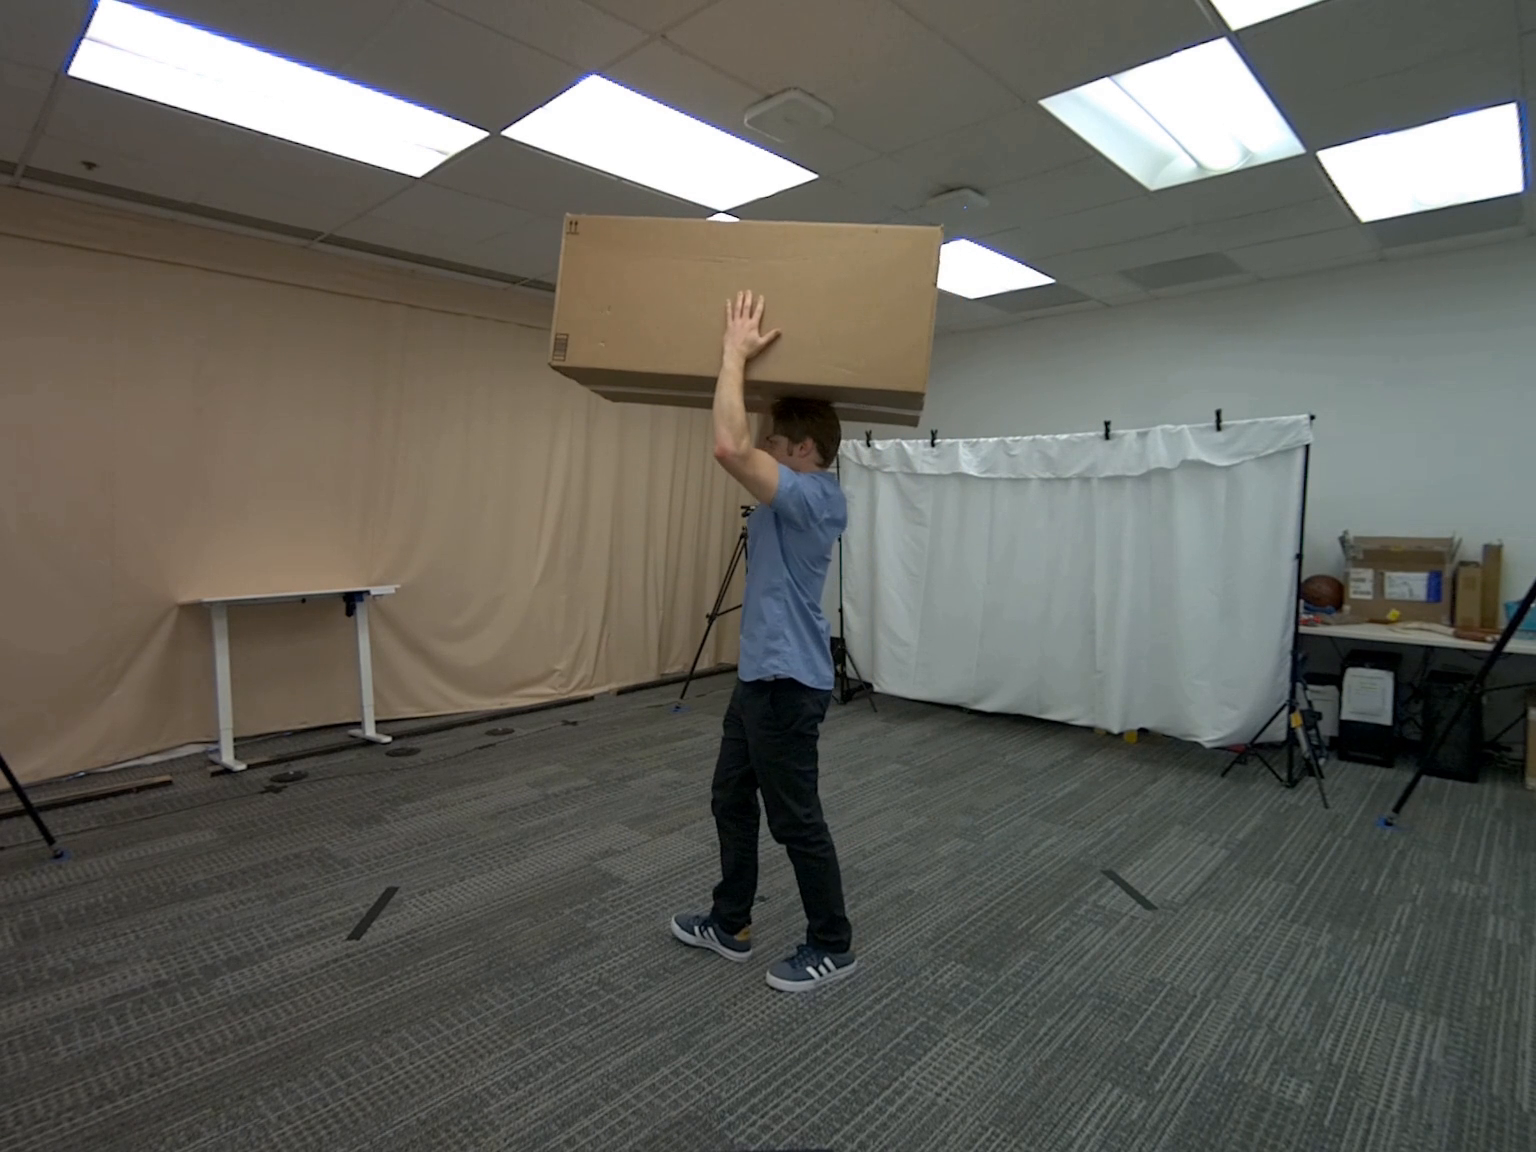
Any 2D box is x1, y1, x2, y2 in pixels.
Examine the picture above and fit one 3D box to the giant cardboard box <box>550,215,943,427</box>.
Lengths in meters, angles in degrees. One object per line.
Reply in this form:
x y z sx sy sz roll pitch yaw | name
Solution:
-0.040 -0.734 2.483 1.040 0.426 0.570 7 1 11 | giant cardboard box
